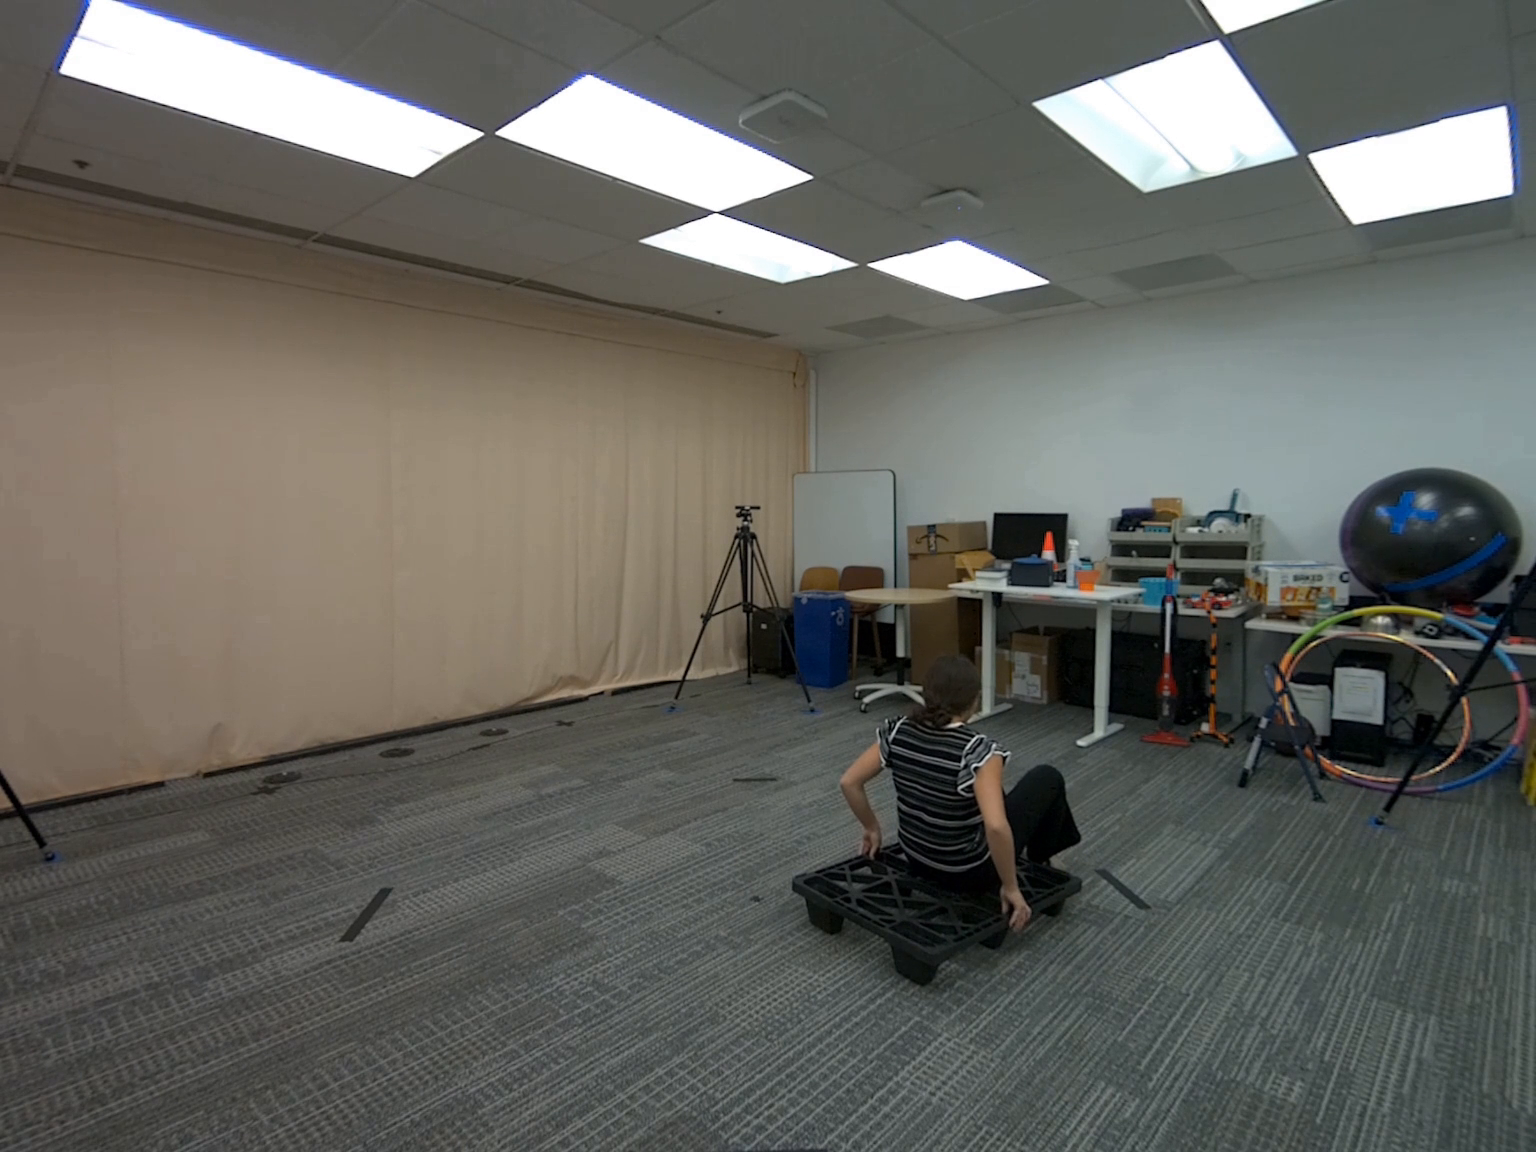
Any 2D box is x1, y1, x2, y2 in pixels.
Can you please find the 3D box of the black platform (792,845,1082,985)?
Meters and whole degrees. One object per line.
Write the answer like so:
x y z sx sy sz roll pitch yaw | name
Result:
0.574 1.086 2.832 0.781 0.143 0.625 -3 7 -38 | black platform
